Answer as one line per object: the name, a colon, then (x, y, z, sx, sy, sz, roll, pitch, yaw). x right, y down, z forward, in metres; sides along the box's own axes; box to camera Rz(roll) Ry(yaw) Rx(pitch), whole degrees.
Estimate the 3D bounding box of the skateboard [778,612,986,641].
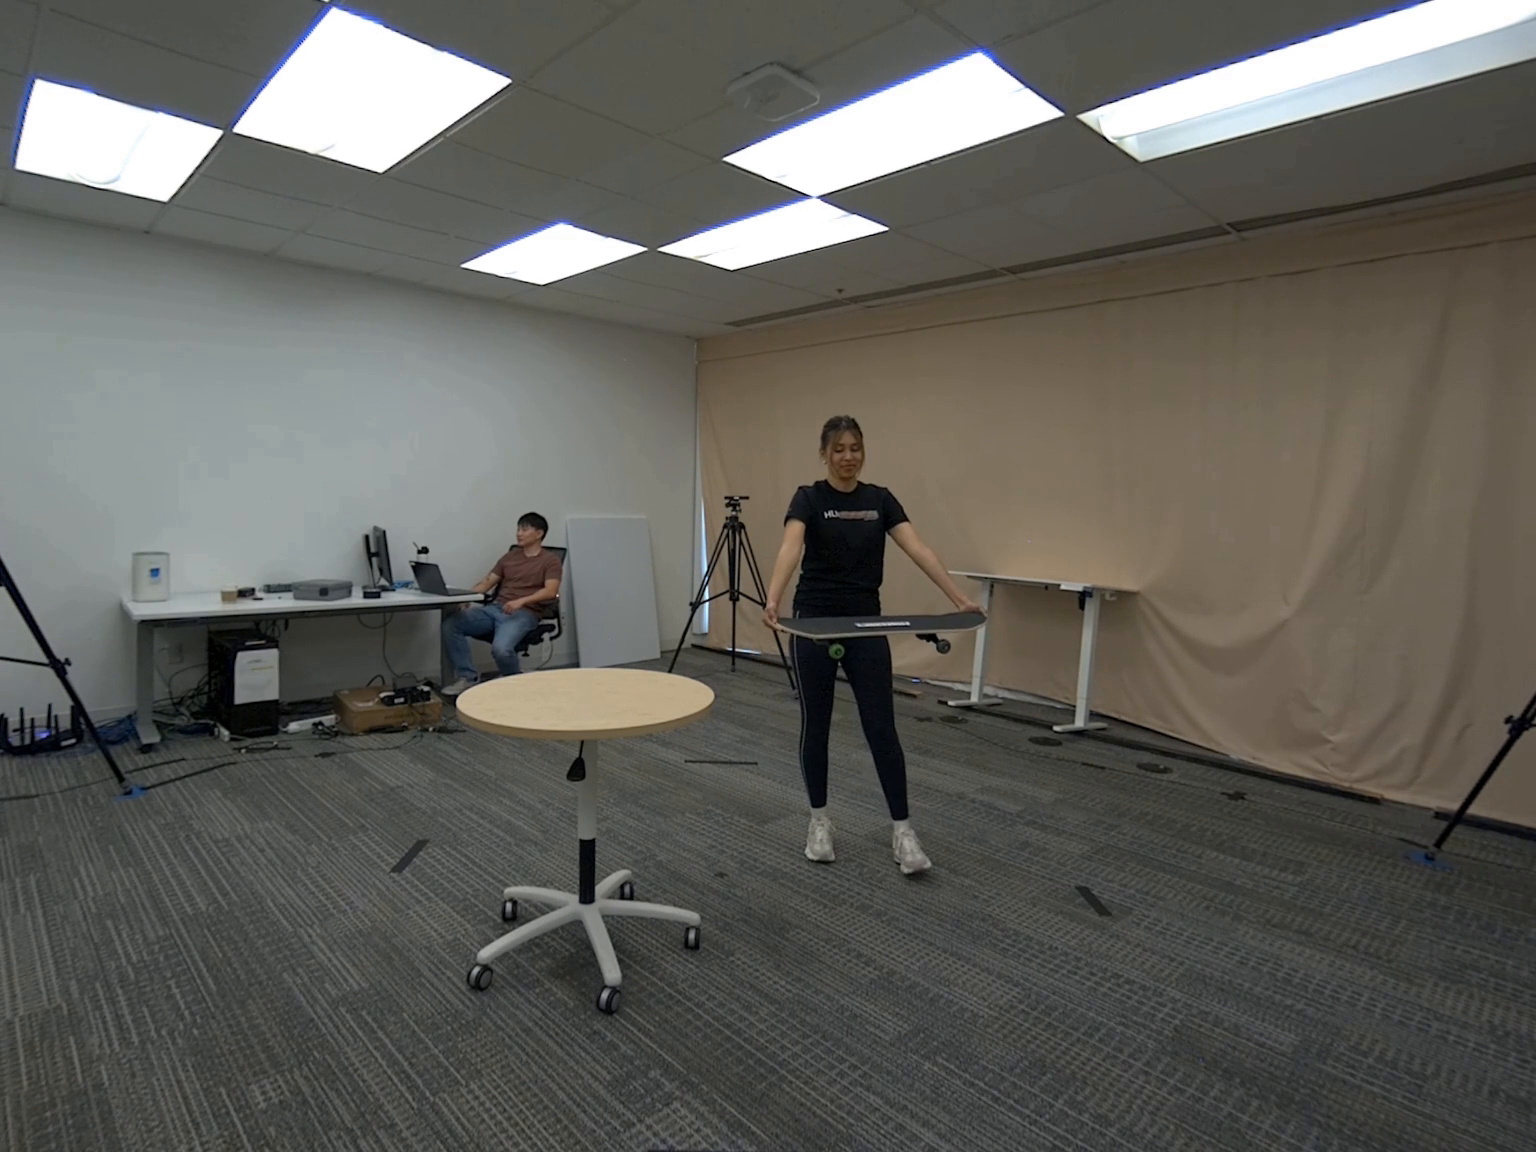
skateboard: (0.403, 0.202, 2.934, 0.776, 0.109, 0.197, -5, 15, -16)
